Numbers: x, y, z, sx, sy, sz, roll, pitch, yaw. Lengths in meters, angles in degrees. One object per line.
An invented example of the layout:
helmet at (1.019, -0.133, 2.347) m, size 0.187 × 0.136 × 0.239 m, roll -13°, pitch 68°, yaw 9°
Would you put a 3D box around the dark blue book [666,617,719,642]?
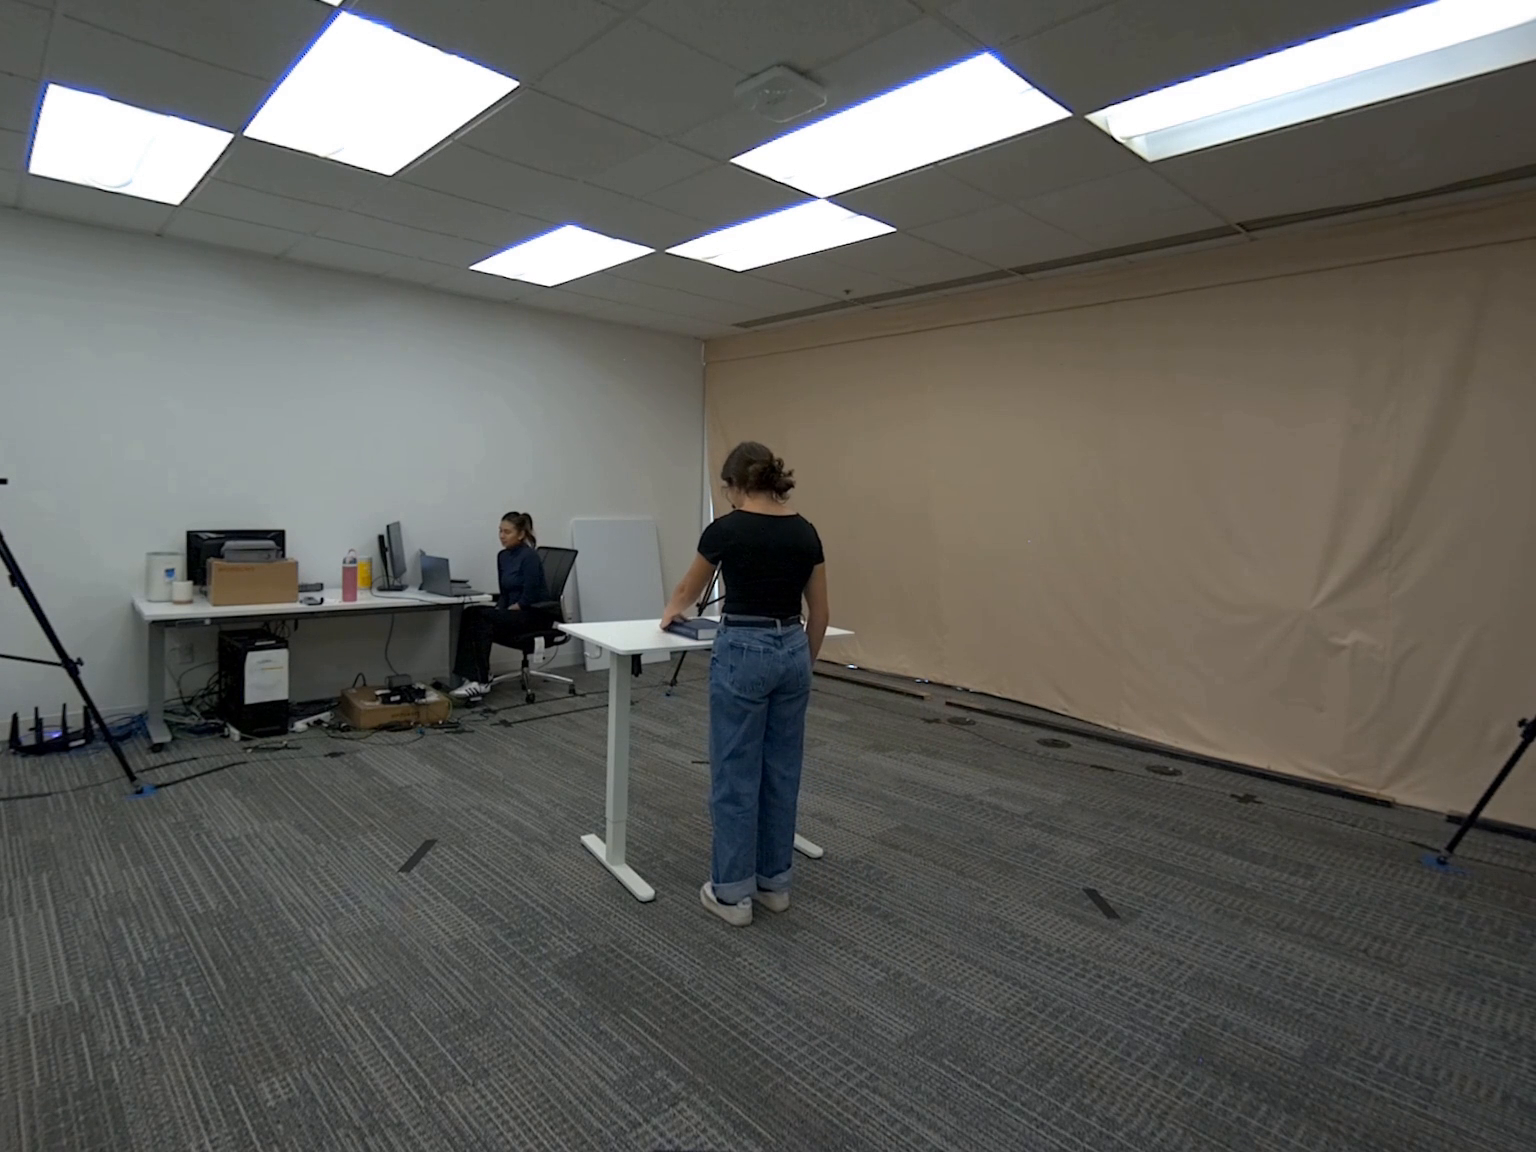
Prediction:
dark blue book at (-0.253, 0.202, 3.144) m, size 0.160 × 0.045 × 0.251 m, roll -2°, pitch 6°, yaw -34°
